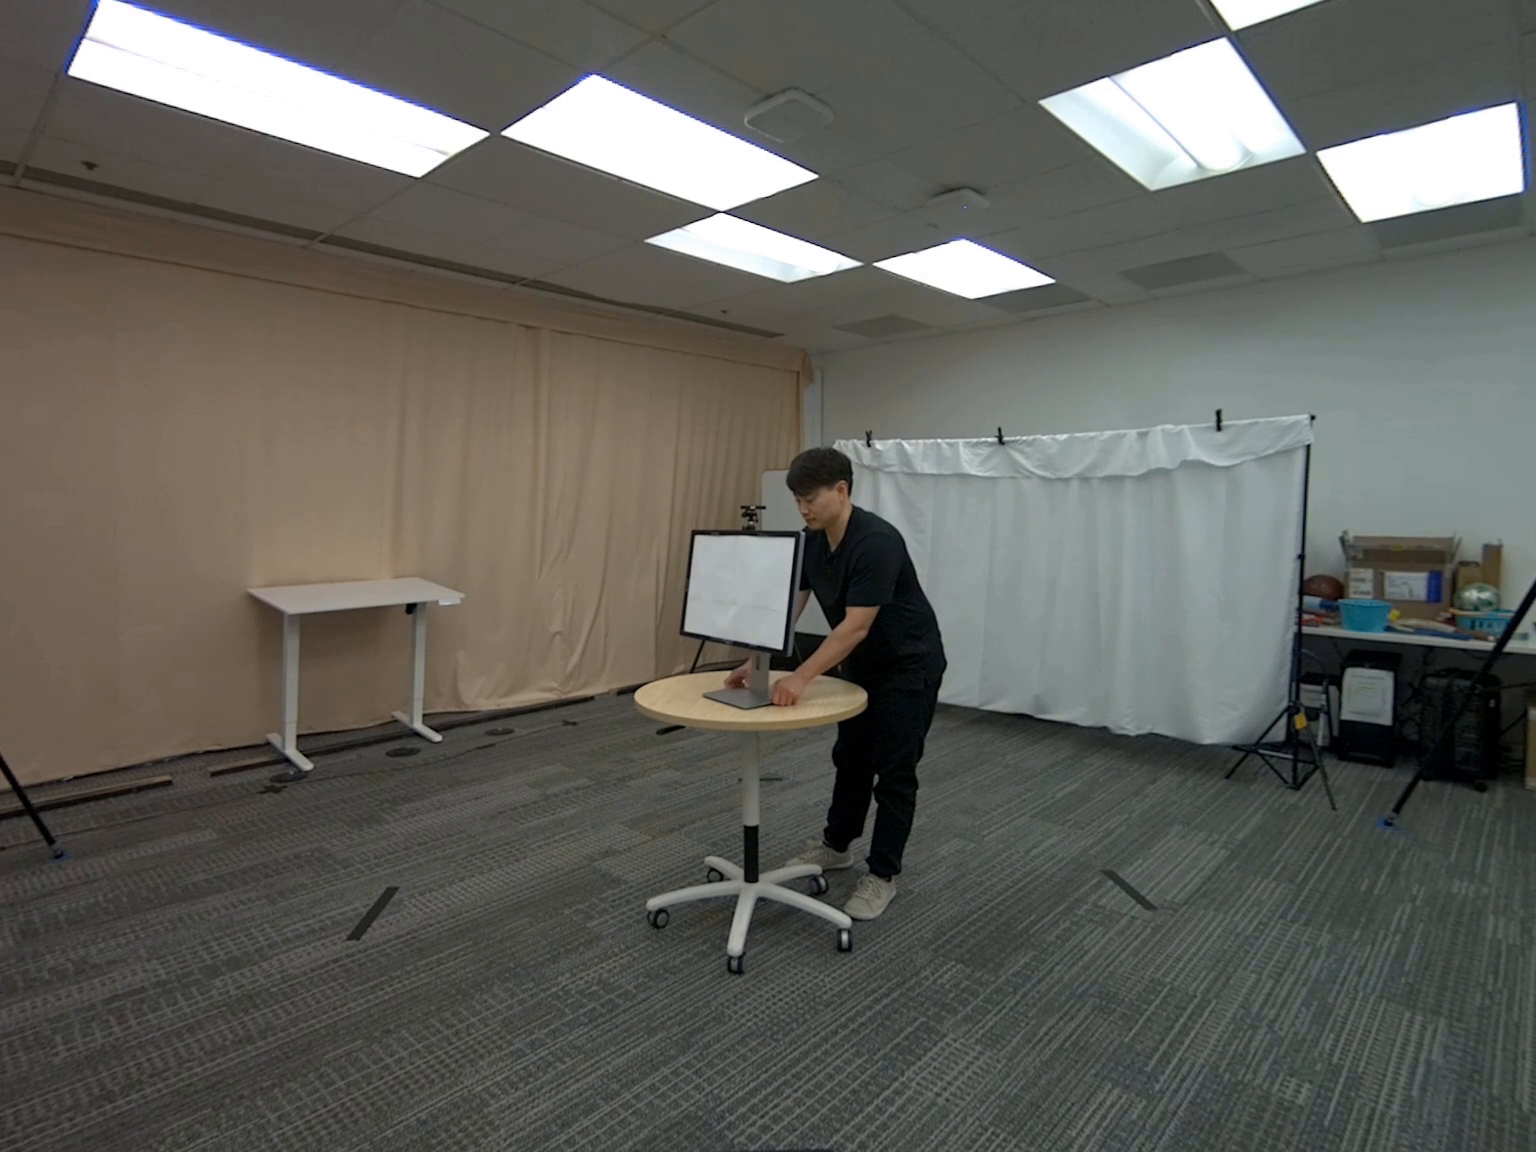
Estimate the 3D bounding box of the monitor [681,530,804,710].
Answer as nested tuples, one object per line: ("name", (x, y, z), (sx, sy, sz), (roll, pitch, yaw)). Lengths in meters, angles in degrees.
("monitor", (-0.056, 0.127, 2.683), (0.181, 0.521, 0.556), (-5, 5, -39))
